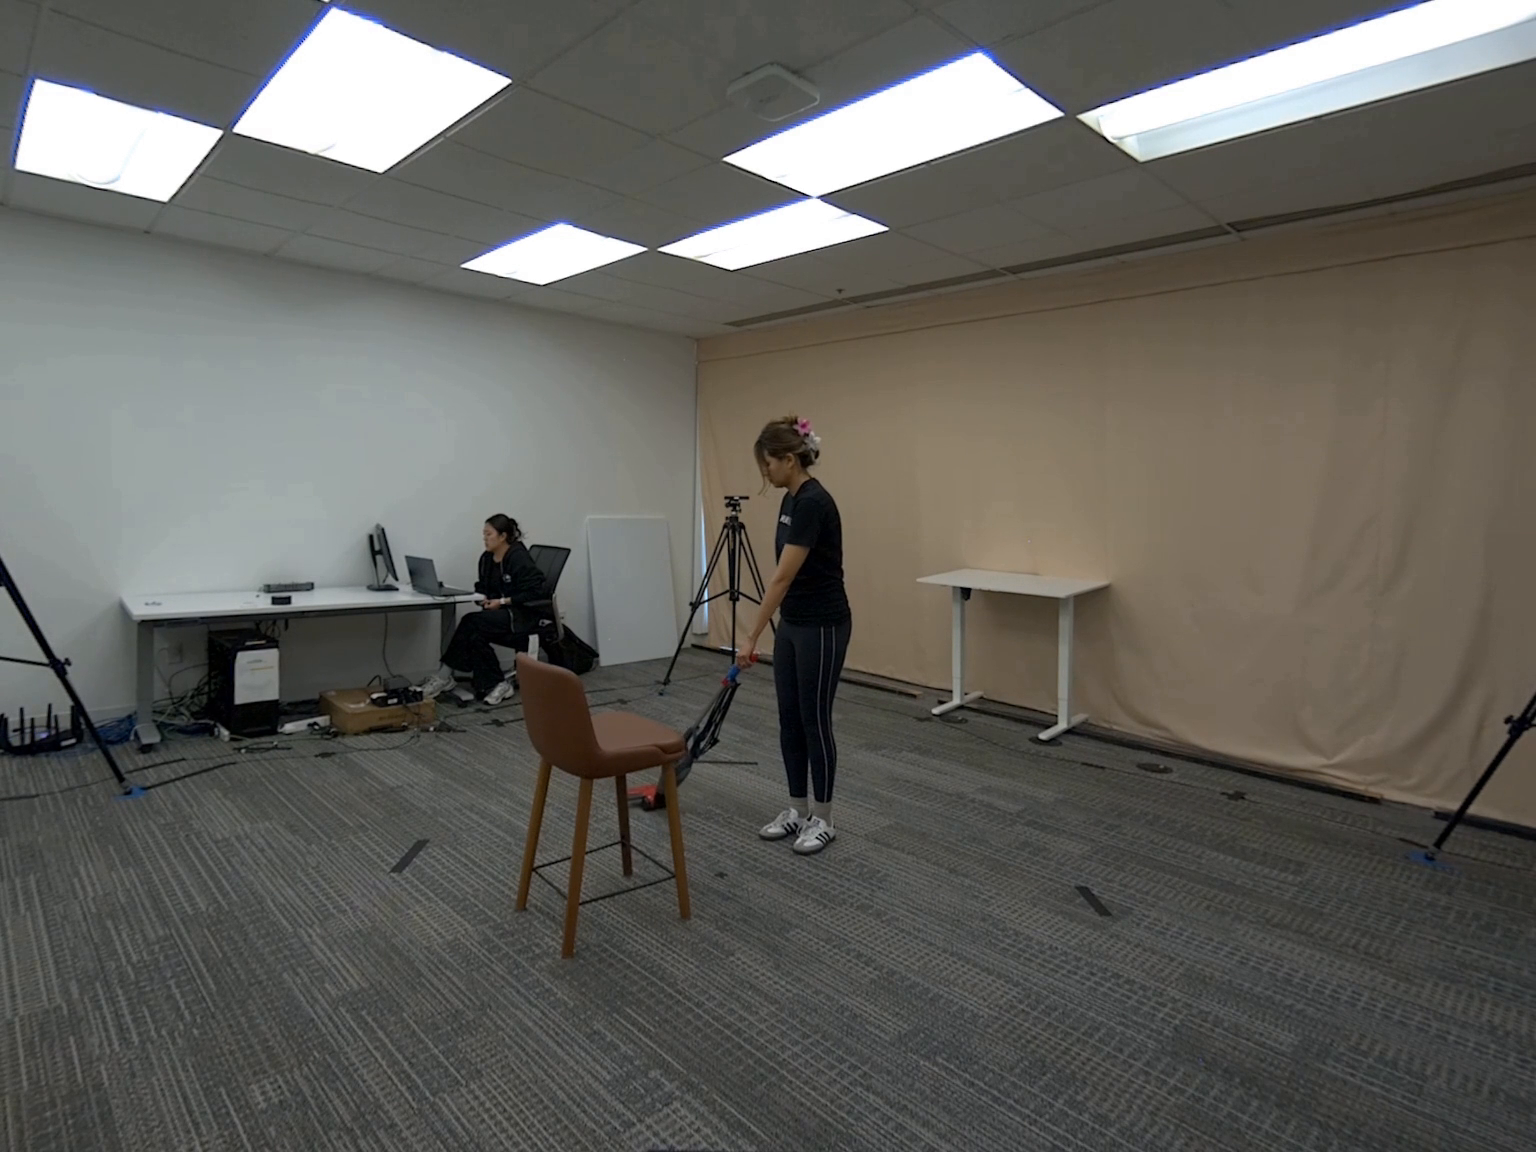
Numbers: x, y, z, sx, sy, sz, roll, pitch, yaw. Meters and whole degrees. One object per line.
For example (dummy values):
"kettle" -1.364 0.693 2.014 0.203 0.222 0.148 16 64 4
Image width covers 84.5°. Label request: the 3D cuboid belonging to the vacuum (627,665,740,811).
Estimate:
"vacuum" -0.285 0.660 3.492 0.247 0.148 1.045 -7 -36 -44
